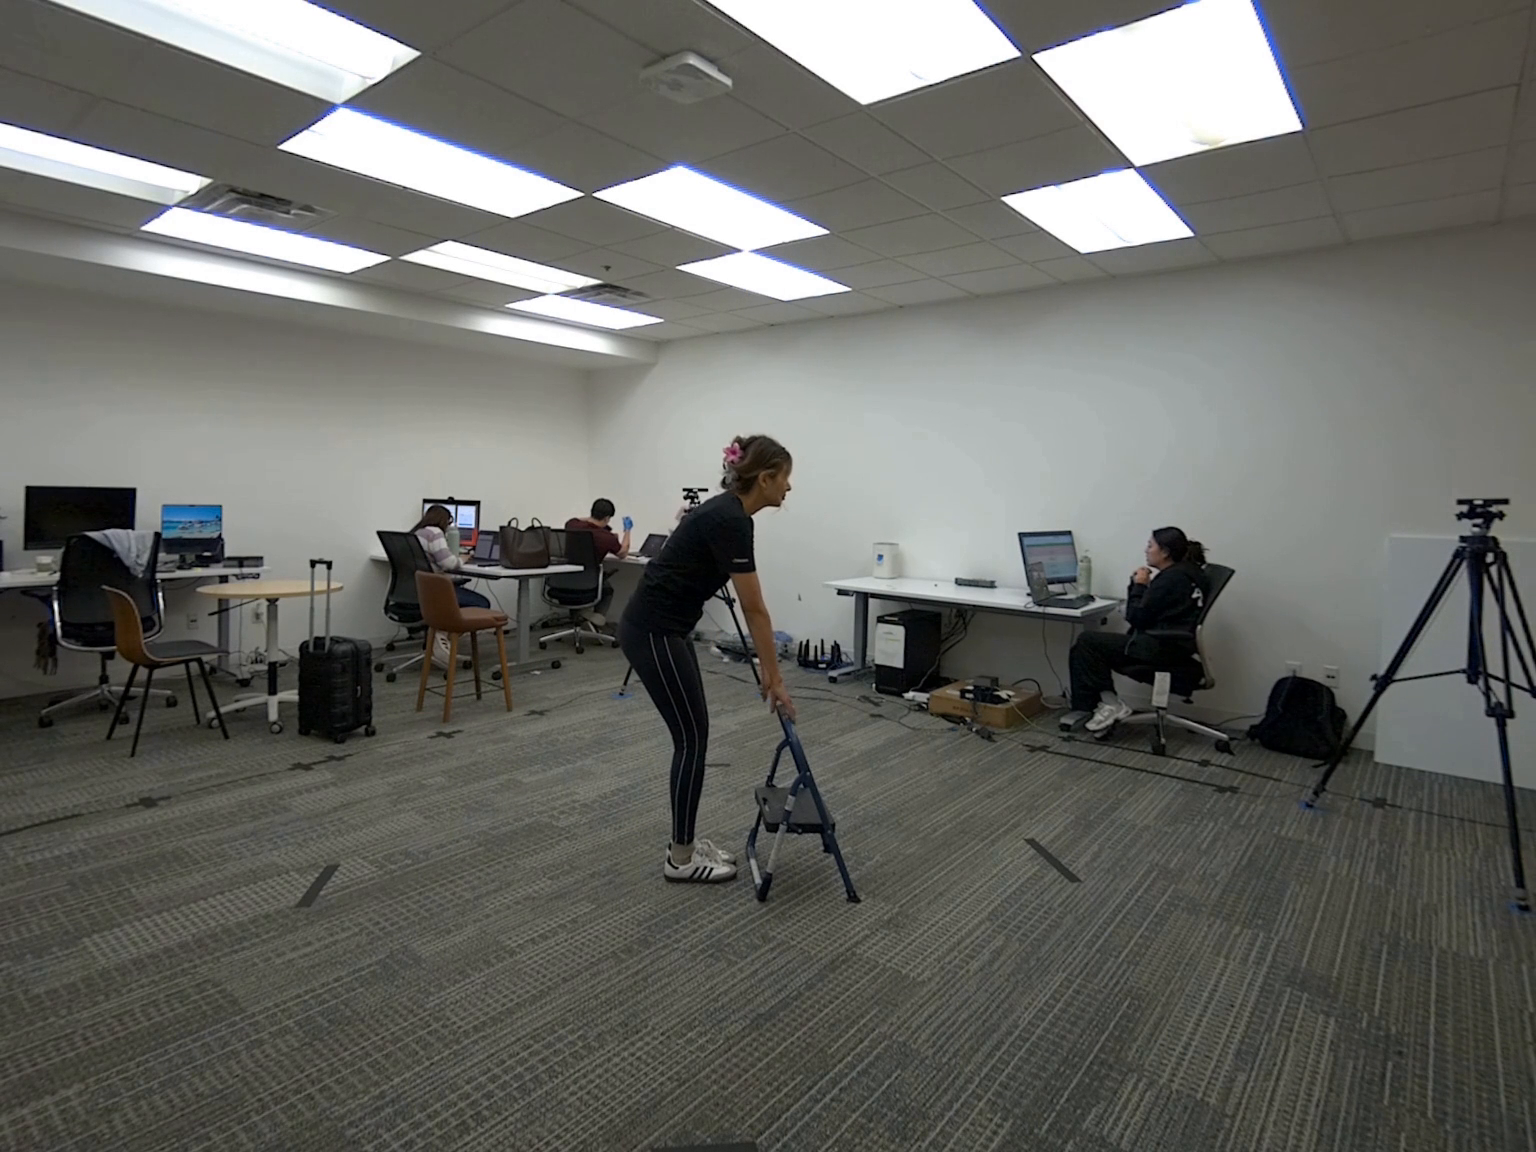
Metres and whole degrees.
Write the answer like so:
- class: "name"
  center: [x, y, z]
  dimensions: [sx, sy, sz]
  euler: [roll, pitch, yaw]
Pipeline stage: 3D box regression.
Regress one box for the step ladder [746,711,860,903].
- class: "step ladder"
  center: [0.110, 0.785, 3.064]
  dimensions: [0.347, 0.605, 0.435]
  euler: [1, 3, -8]
